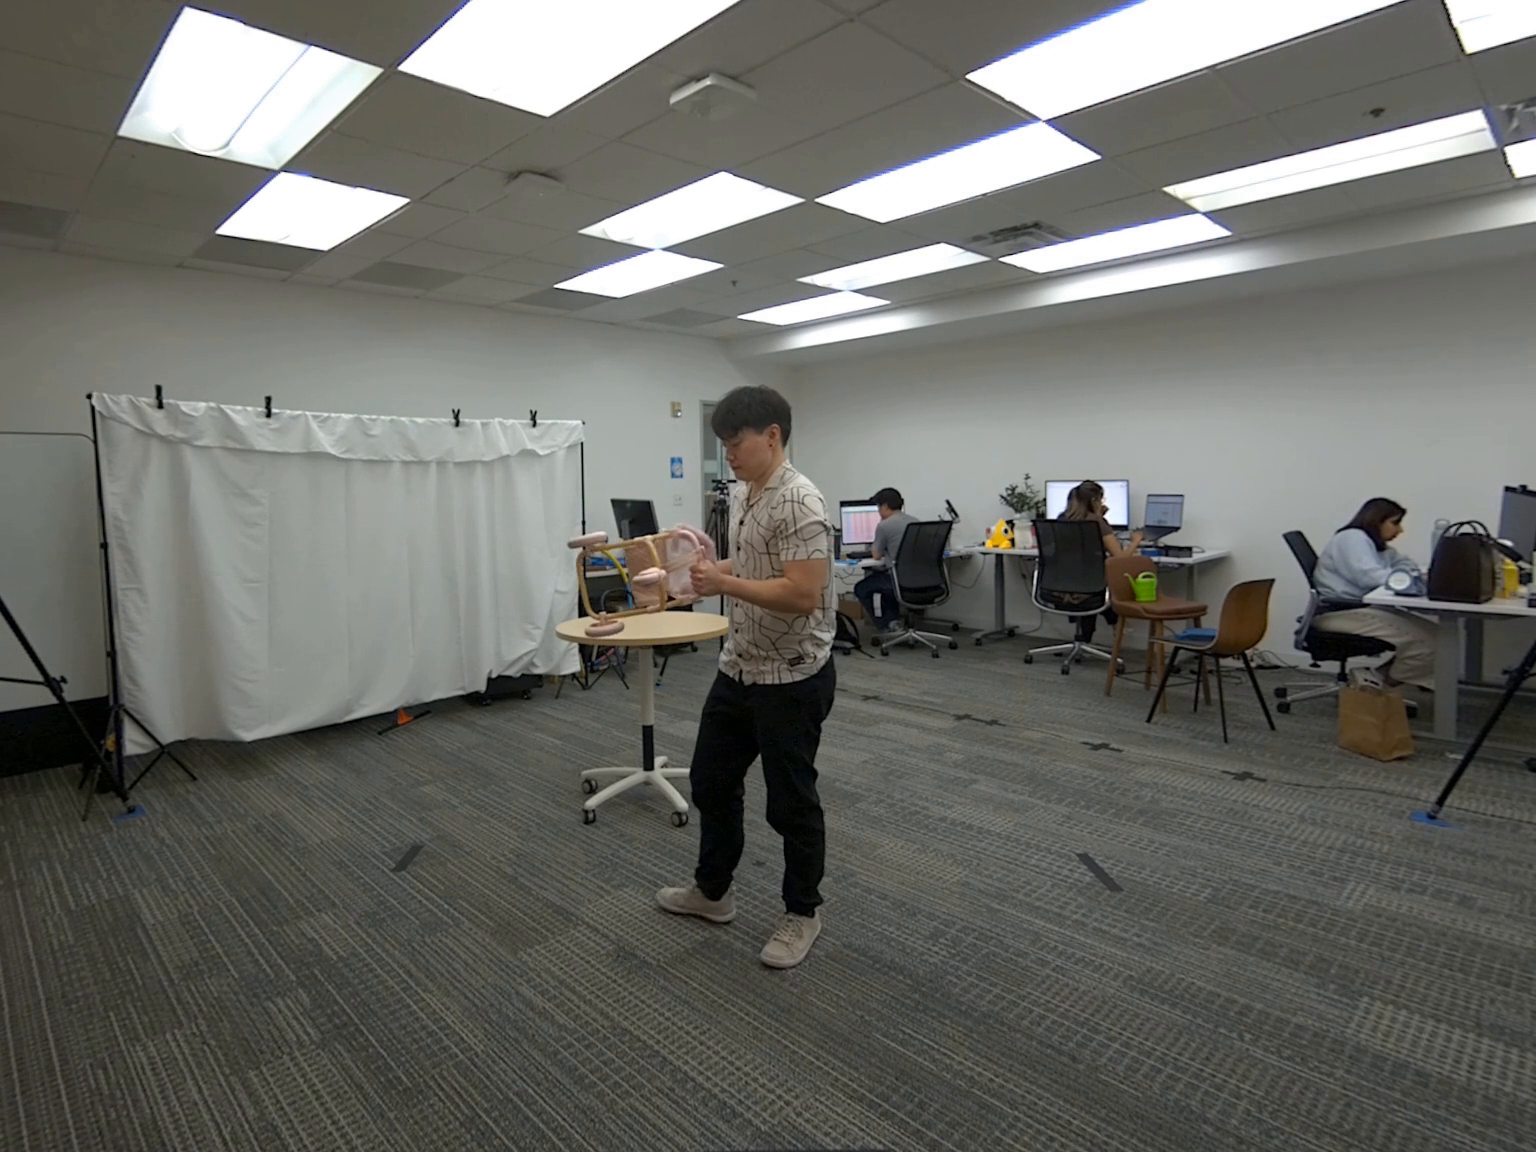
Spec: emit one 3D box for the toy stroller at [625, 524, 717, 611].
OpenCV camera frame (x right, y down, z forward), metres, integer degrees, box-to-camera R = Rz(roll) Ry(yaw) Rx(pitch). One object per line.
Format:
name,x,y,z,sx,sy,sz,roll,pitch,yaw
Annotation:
toy stroller,-0.305,-0.022,2.414,0.348,0.281,0.526,-13,3,29
